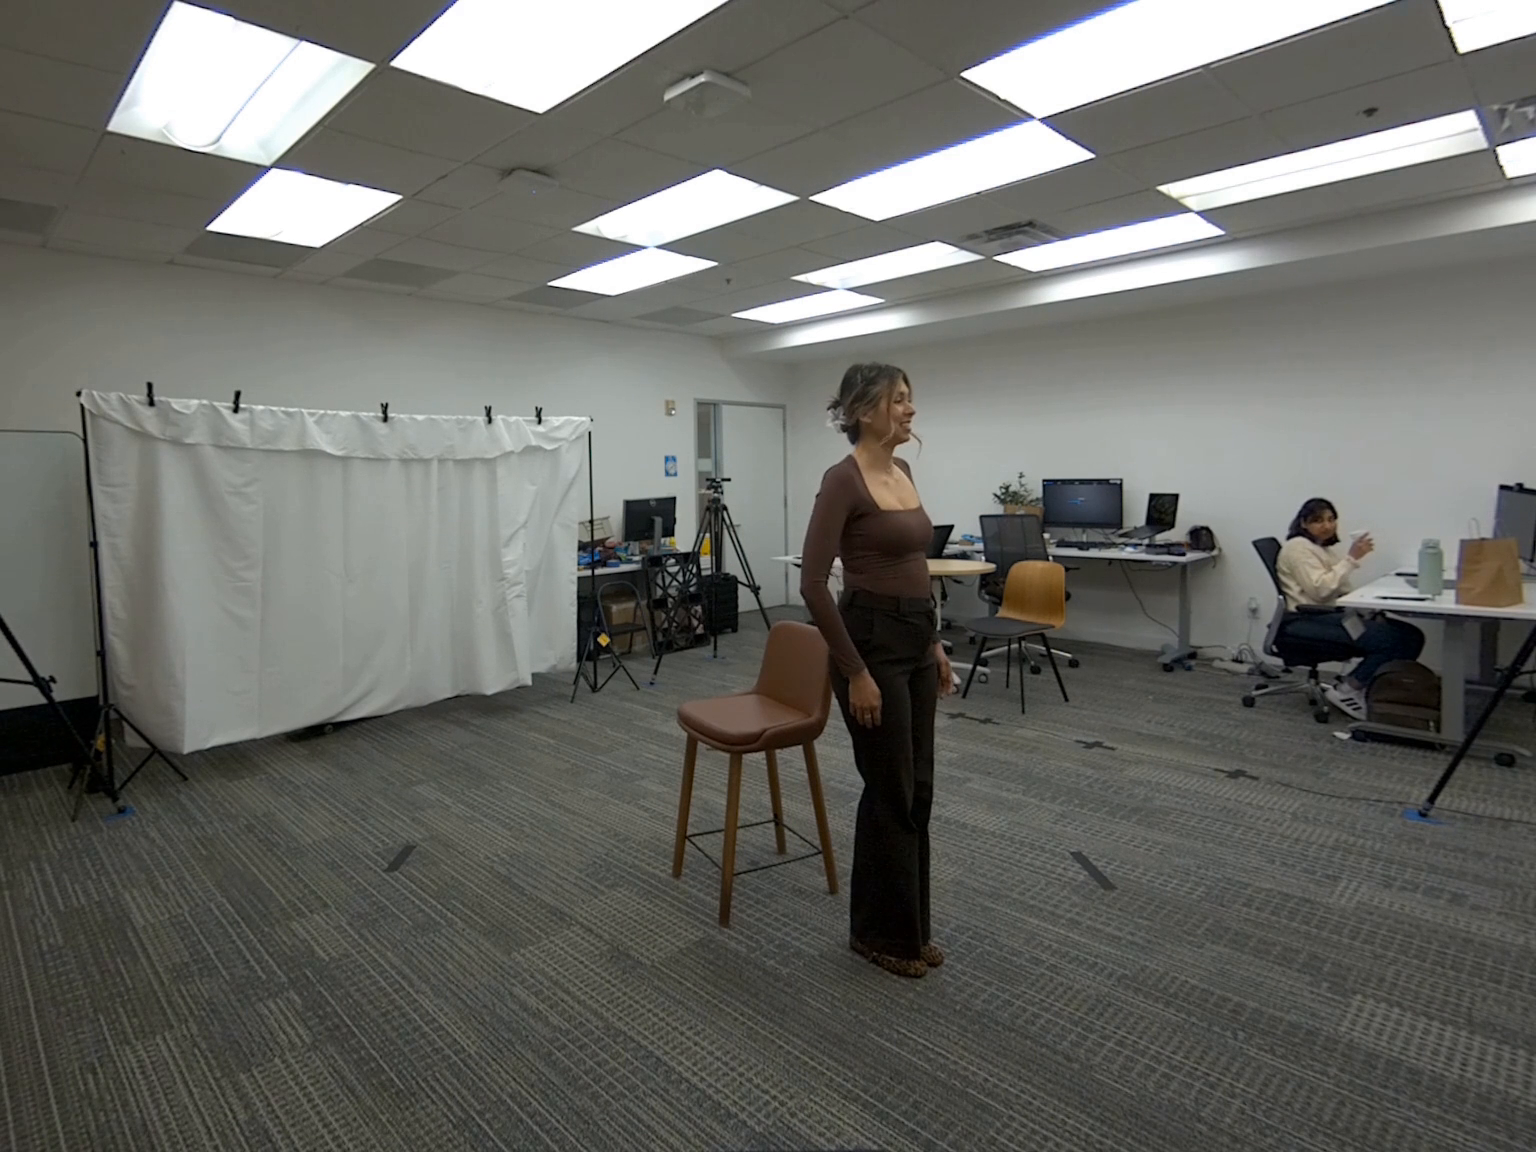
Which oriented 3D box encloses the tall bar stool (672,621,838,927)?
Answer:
[{"bbox_3d":[-0.044,0.630,2.914,0.457,0.887,0.469,-1,4,-28],"label":"tall bar stool"}]
